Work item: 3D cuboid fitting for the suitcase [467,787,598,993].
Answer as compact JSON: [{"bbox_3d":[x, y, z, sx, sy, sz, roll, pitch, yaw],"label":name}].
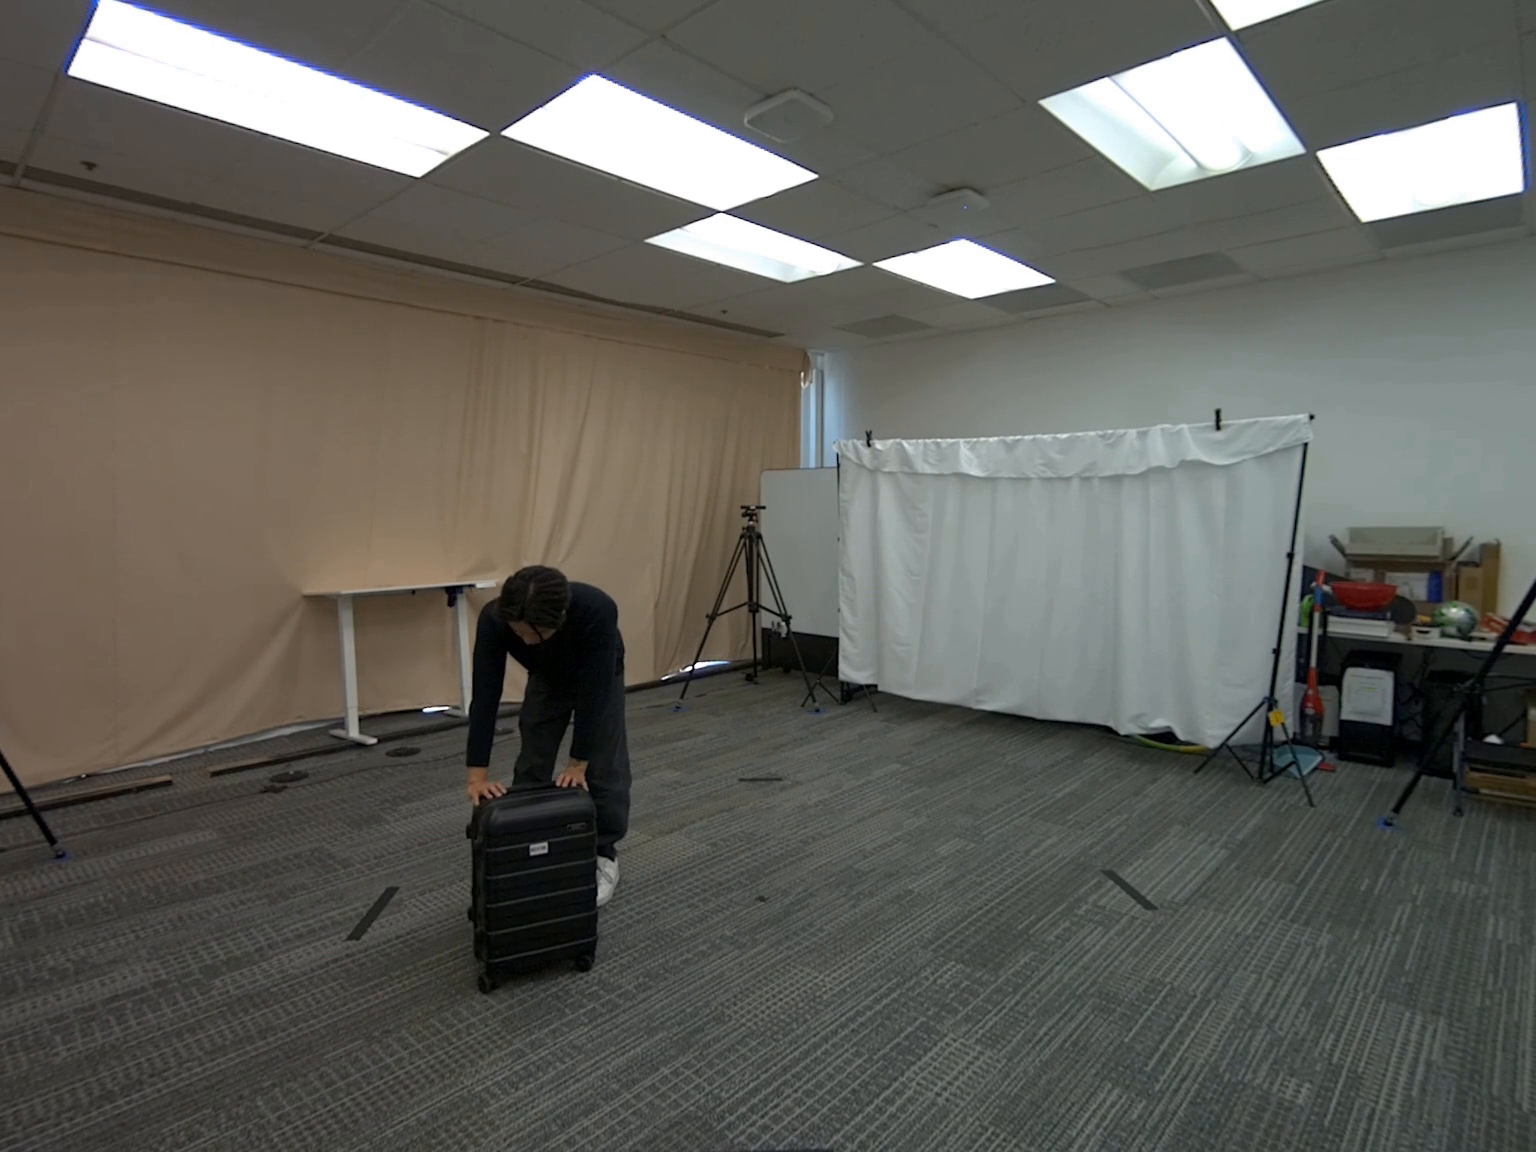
[{"bbox_3d":[-0.706,0.913,2.549,0.366,0.548,0.255,-1,5,-25],"label":"suitcase"}]
